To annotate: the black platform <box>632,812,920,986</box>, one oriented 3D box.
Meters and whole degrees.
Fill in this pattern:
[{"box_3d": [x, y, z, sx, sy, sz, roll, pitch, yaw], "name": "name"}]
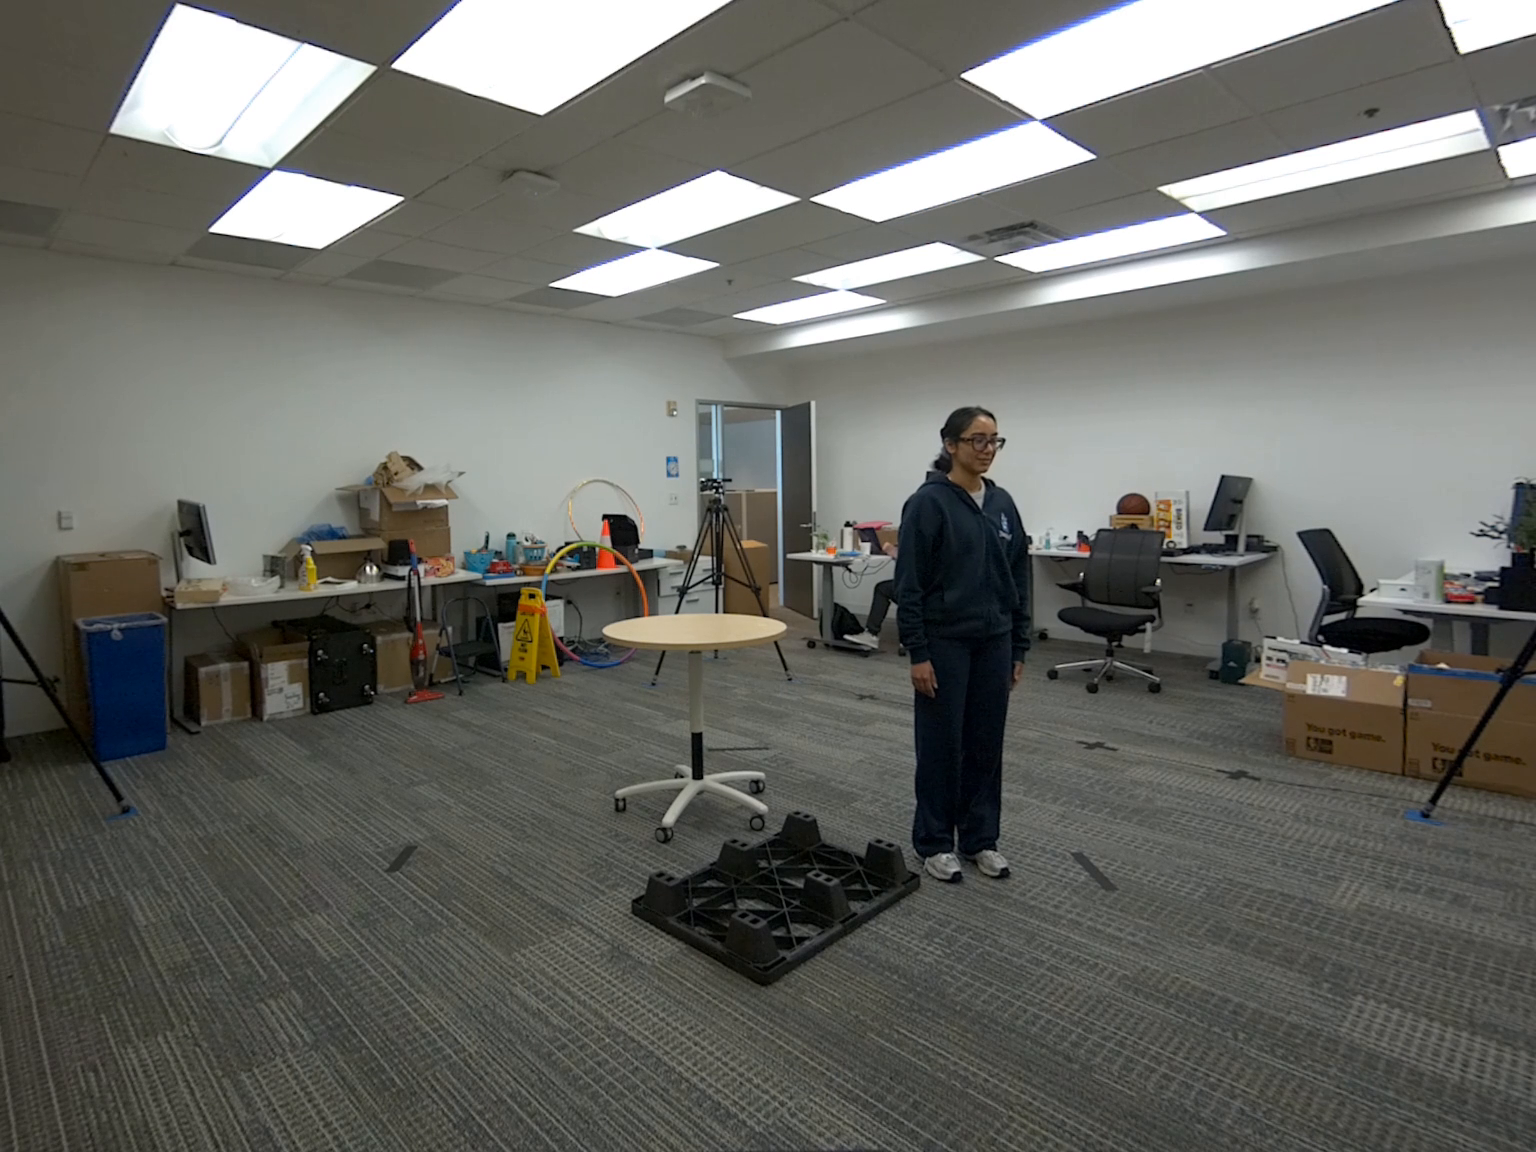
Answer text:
[{"box_3d": [0.037, 1.007, 2.838, 0.624, 0.142, 0.785, 6, 9, 43], "name": "black platform"}]
